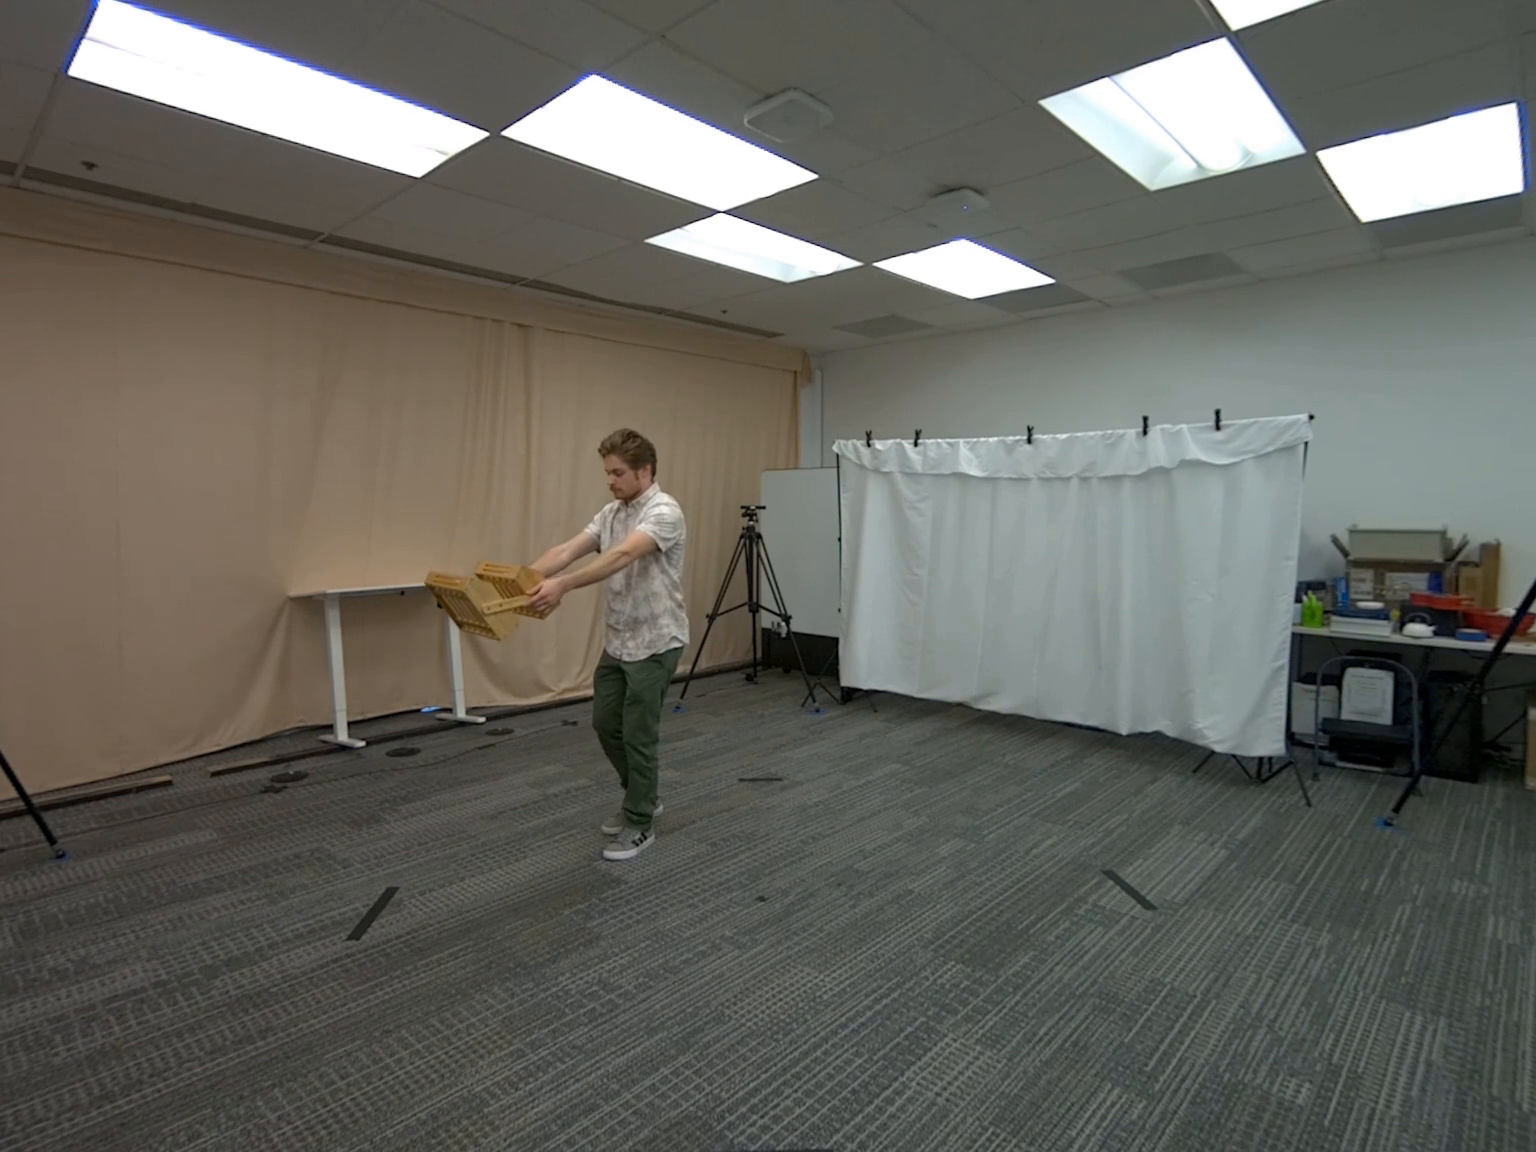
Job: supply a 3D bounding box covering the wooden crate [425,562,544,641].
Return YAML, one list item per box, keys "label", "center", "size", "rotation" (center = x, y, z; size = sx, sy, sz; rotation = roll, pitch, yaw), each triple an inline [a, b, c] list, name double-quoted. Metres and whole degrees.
- label: "wooden crate"
  center: [-0.977, 0.050, 2.983]
  size: [0.335, 0.294, 0.271]
  rotation: [6, 42, 44]
